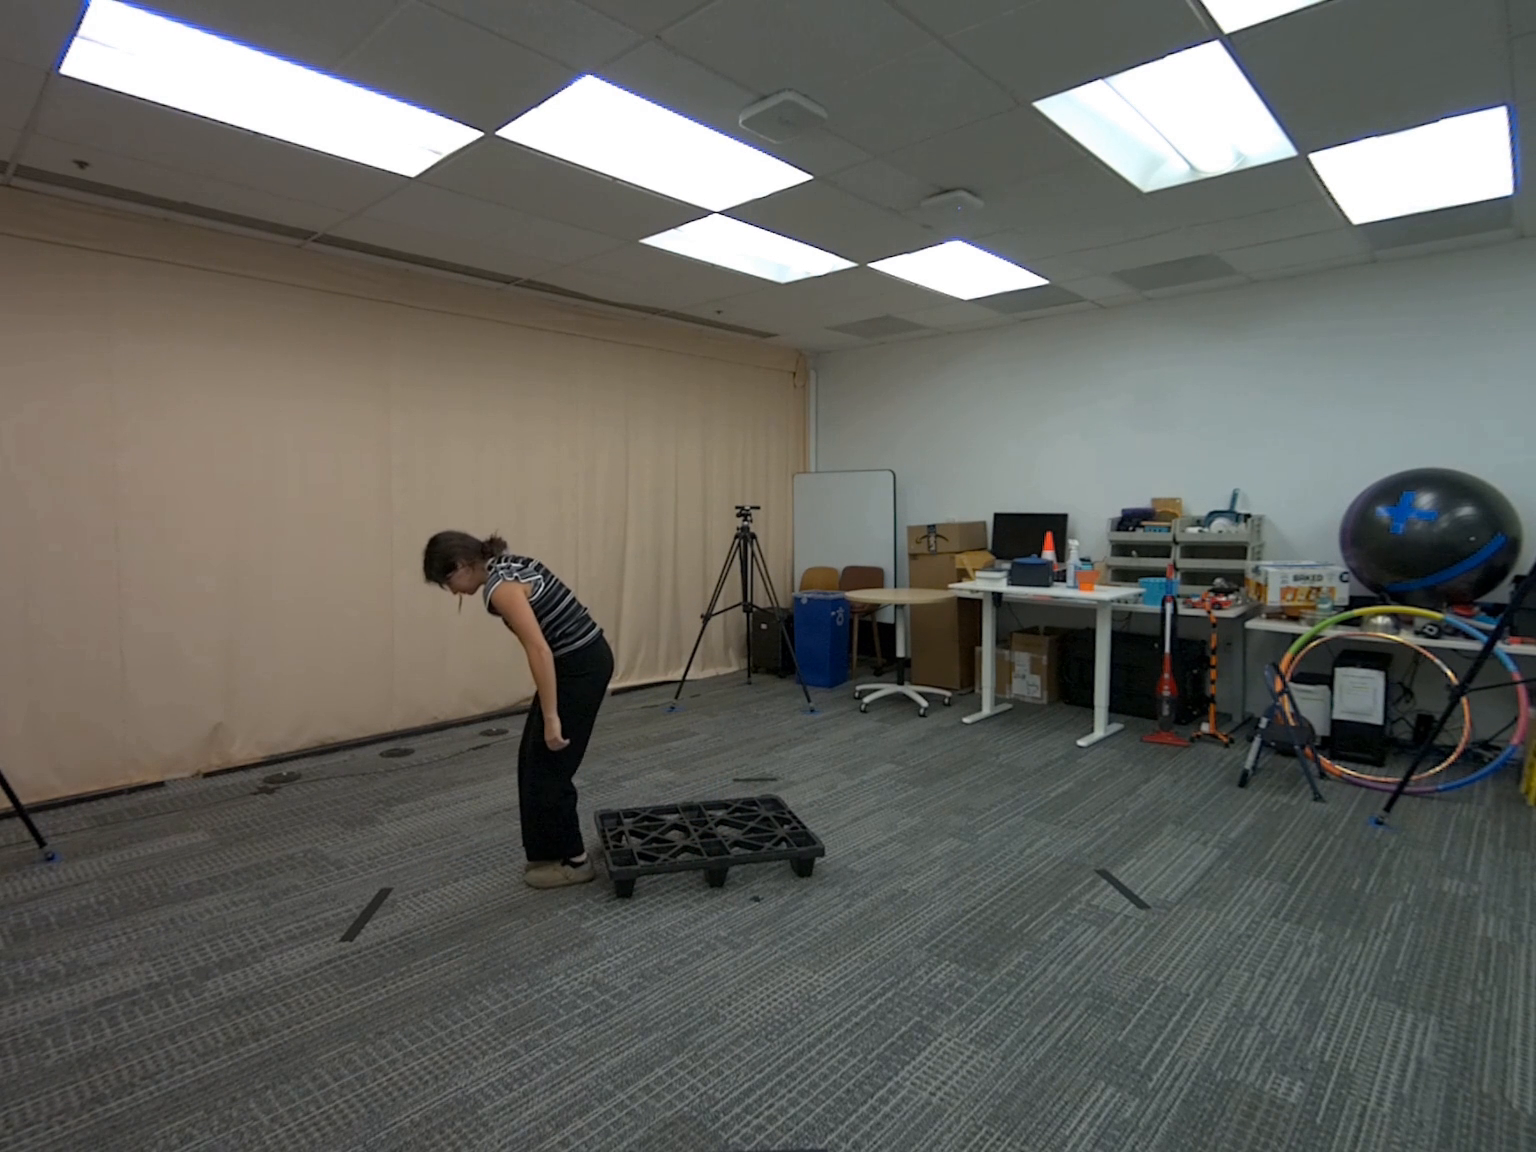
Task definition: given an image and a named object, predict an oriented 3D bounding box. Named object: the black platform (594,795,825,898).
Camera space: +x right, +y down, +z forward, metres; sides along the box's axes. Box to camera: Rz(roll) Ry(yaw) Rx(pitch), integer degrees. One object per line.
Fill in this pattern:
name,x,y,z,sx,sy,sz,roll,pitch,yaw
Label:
black platform,-0.256,1.050,3.299,0.793,0.143,0.615,-1,4,-15
